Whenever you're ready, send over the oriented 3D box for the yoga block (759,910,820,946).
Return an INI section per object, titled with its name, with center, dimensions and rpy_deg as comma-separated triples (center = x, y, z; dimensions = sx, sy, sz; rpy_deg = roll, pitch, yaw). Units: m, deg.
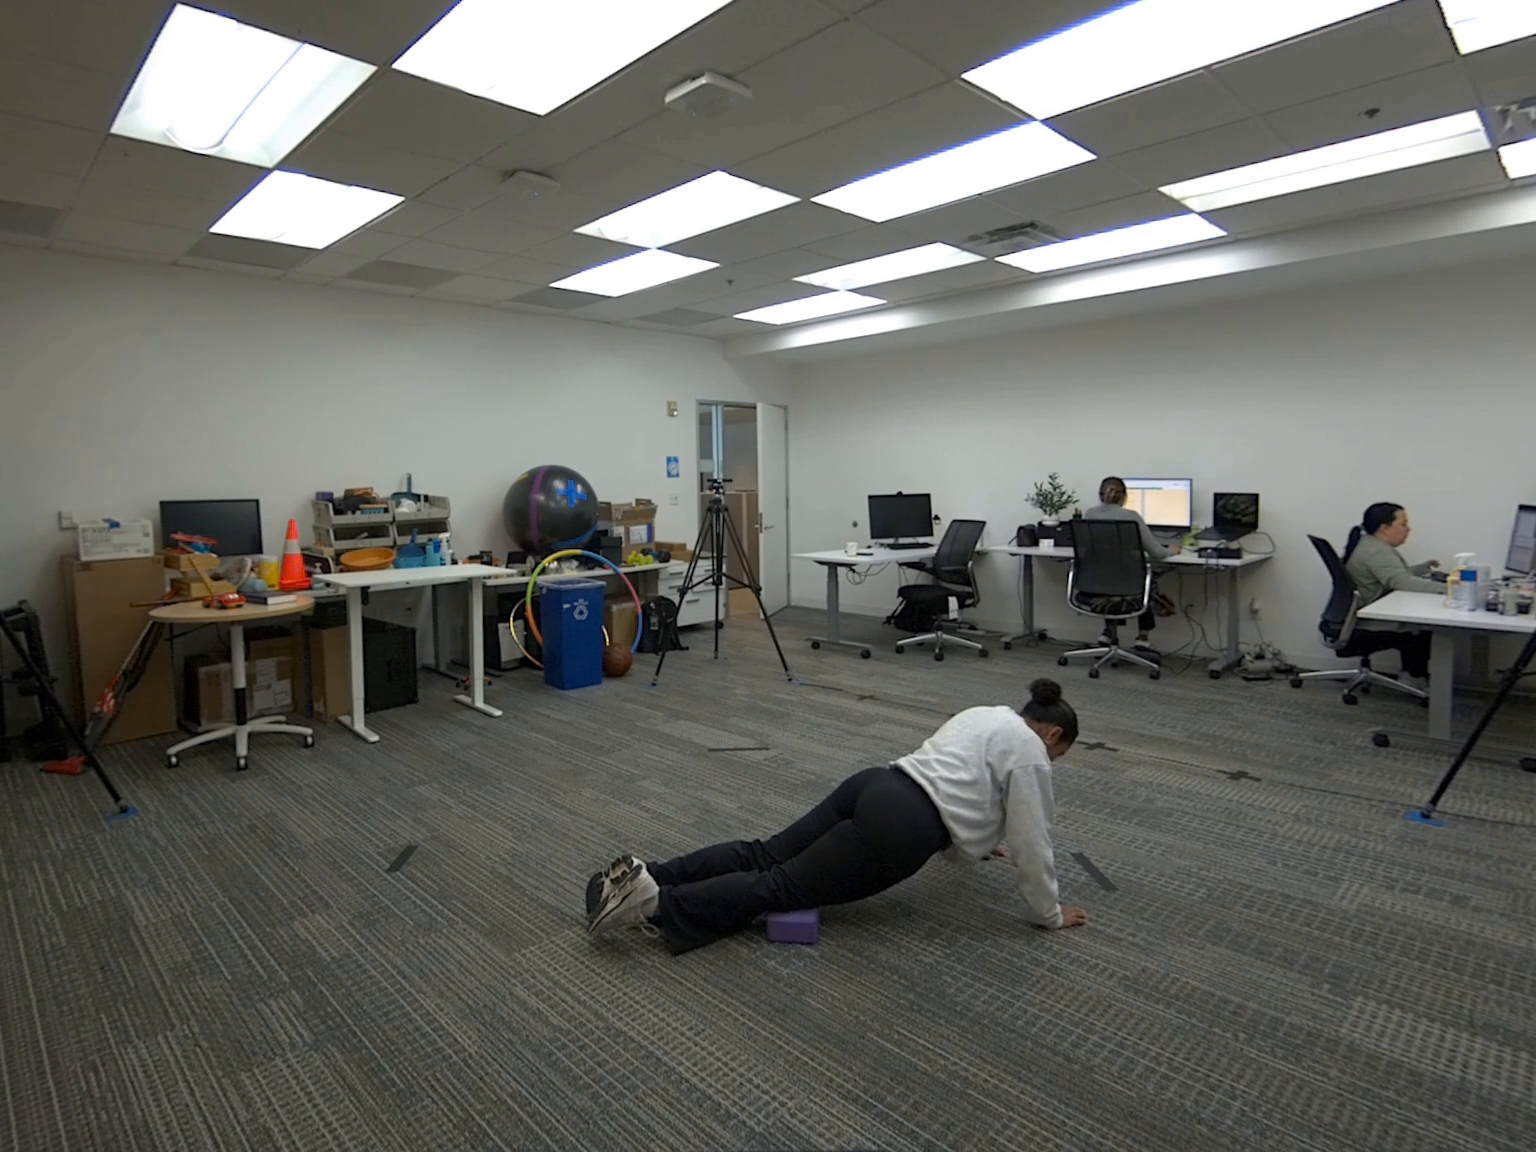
[yoga block]
center = 0.076, 1.045, 2.678
dimensions = 0.150, 0.076, 0.229
rpy_deg = -2, 9, 8
